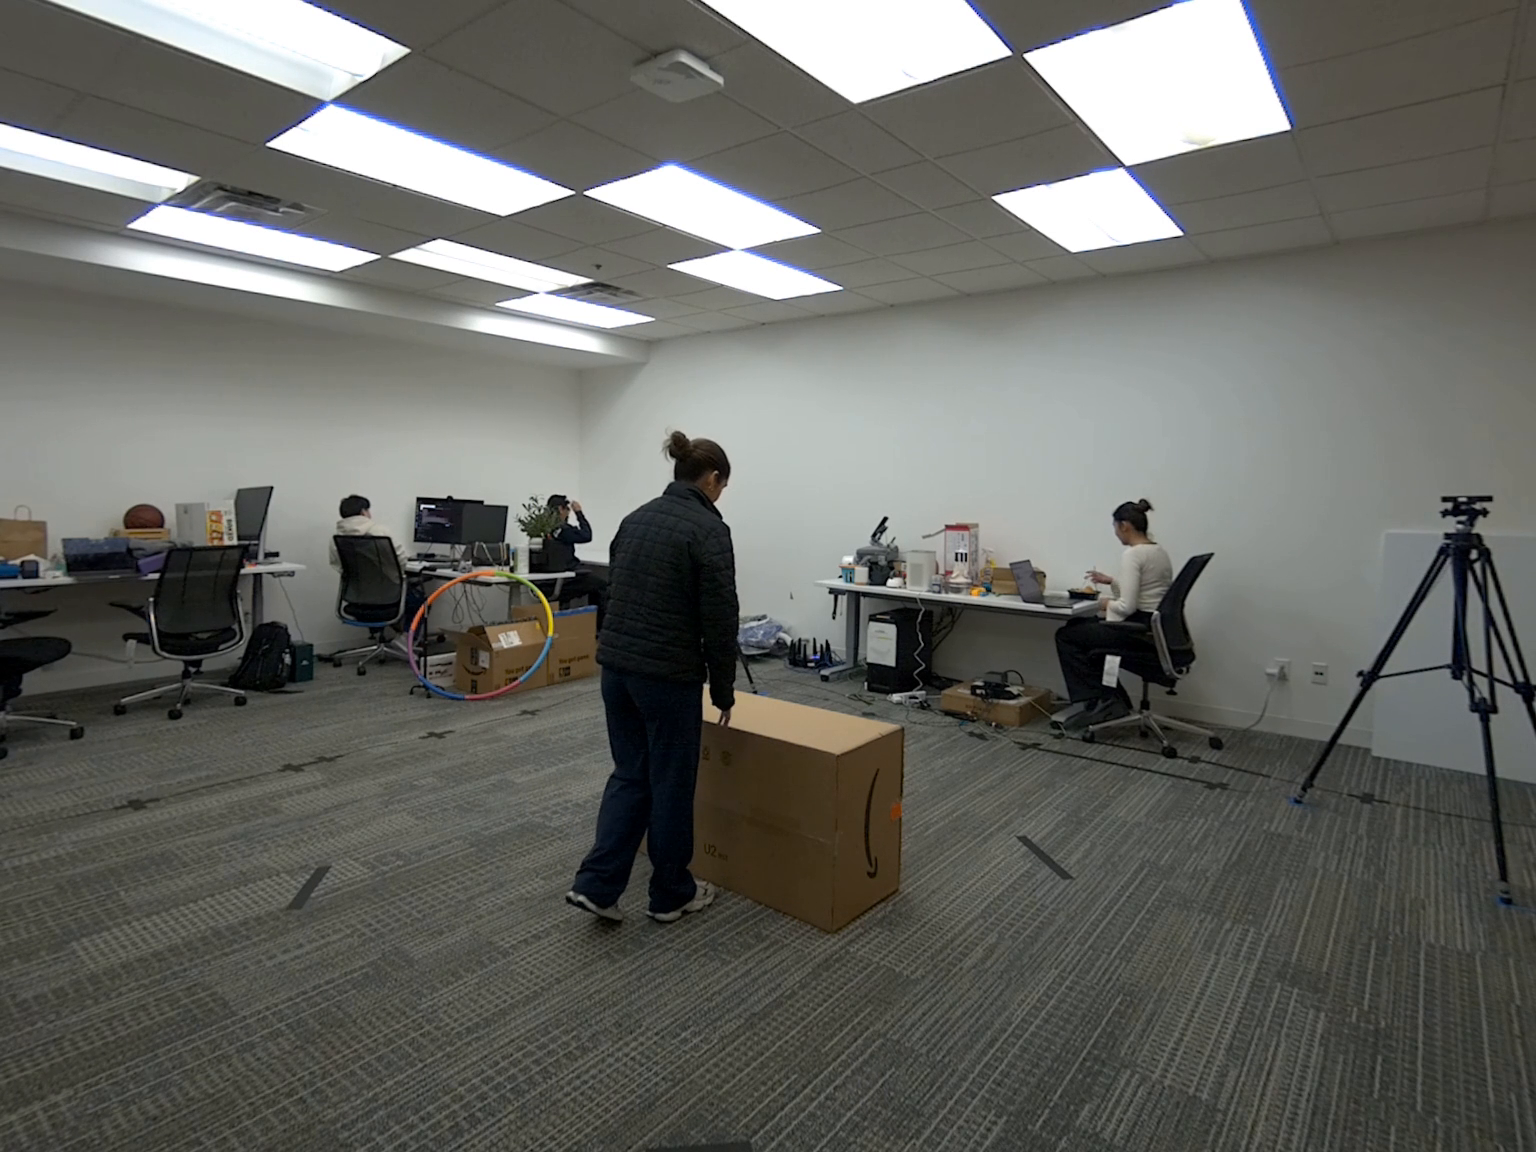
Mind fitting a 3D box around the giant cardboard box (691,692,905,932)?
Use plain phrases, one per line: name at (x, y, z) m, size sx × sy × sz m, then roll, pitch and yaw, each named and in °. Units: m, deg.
giant cardboard box at (-0.049, 0.778, 3.150) m, size 1.062 × 0.581 × 0.434 m, roll 6°, pitch 7°, yaw 41°
